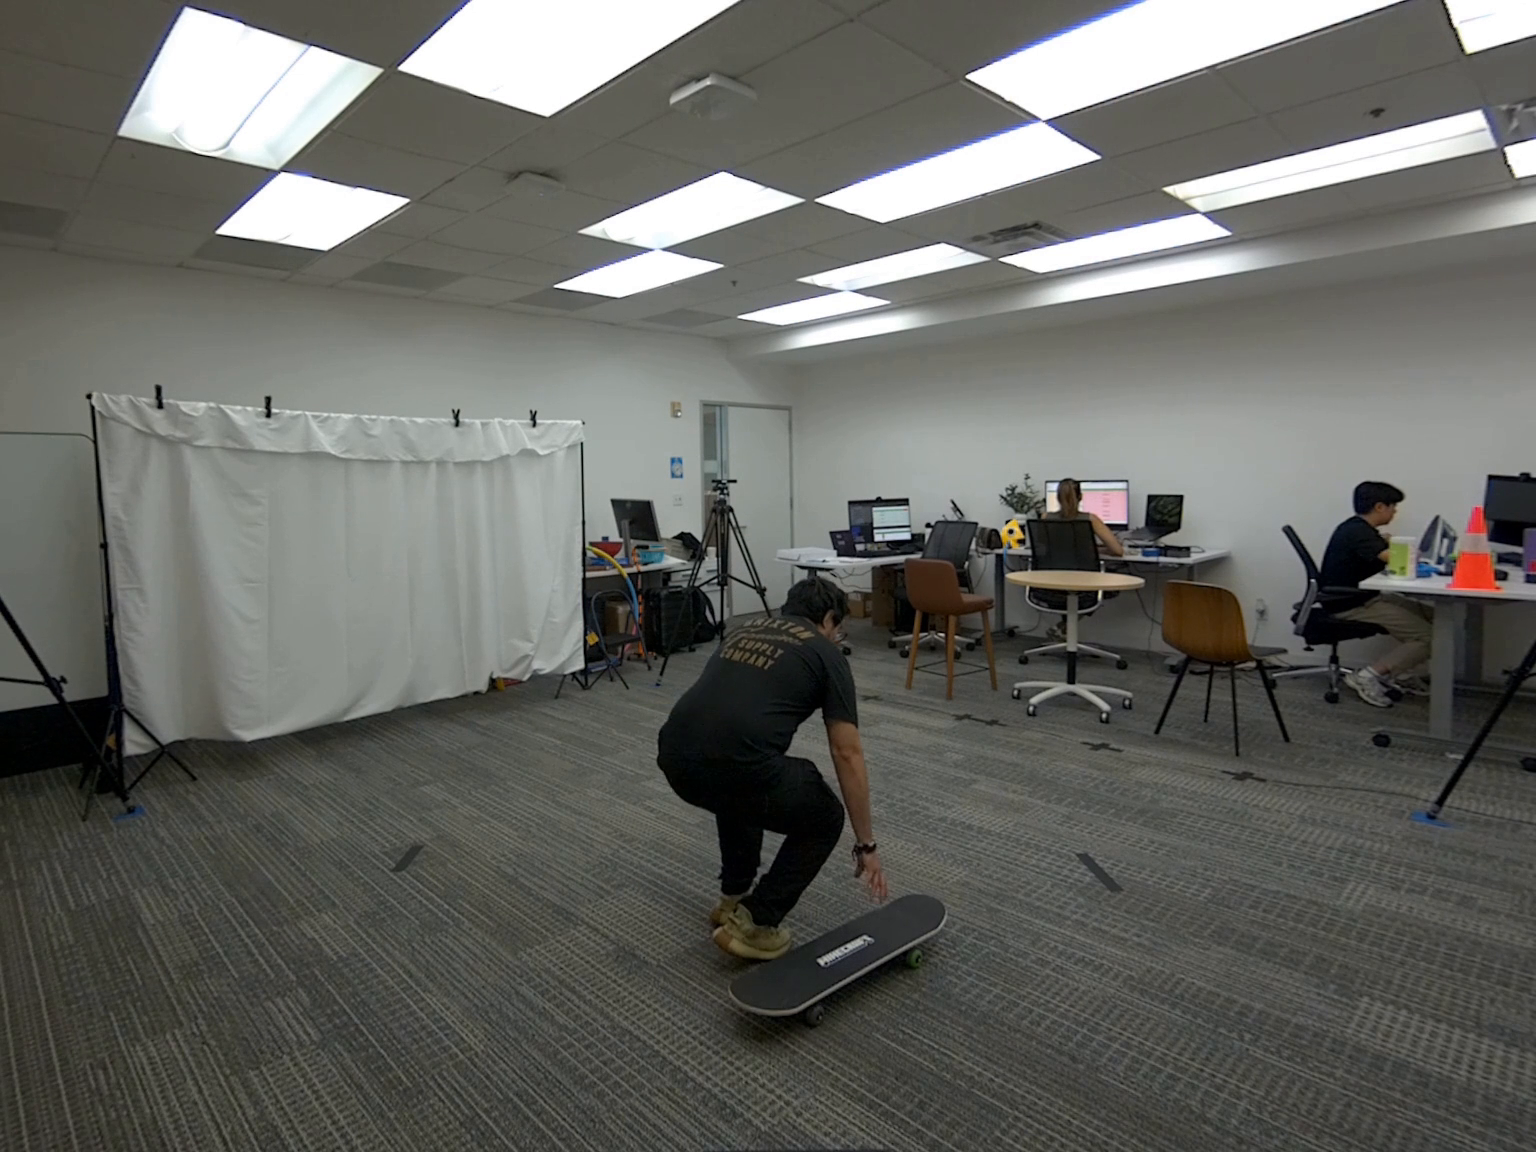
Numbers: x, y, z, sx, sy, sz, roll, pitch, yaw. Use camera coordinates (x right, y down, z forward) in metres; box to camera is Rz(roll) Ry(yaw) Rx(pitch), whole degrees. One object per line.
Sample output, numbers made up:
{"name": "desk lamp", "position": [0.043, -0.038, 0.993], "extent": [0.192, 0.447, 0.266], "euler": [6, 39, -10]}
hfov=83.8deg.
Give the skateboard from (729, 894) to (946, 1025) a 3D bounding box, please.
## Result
{"name": "skateboard", "position": [0.222, 1.073, 2.371], "extent": [0.765, 0.110, 0.199], "euler": [-7, 9, -40]}
